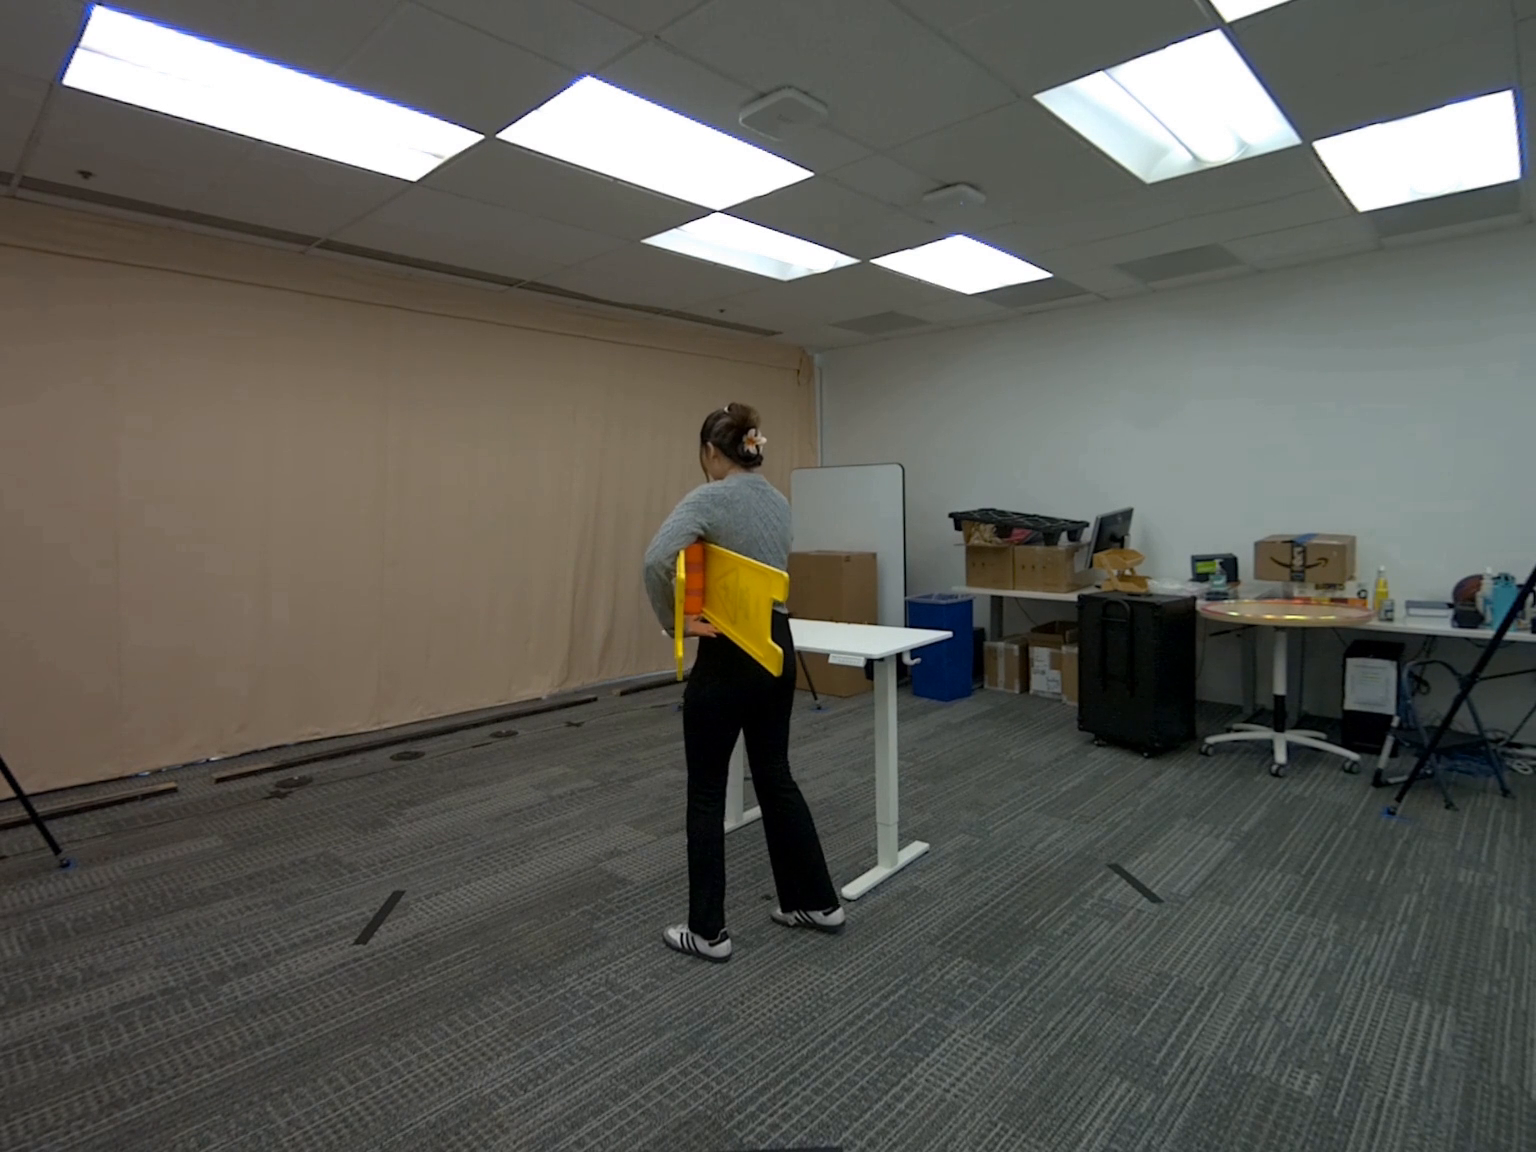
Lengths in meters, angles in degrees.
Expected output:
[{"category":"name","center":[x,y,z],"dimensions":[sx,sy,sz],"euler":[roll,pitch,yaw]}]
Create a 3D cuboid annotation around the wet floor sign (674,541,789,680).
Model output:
[{"category":"wet floor sign","center":[-0.193,0.049,2.432],"dimensions":[0.285,0.280,0.661],"euler":[-2,14,-15]}]
